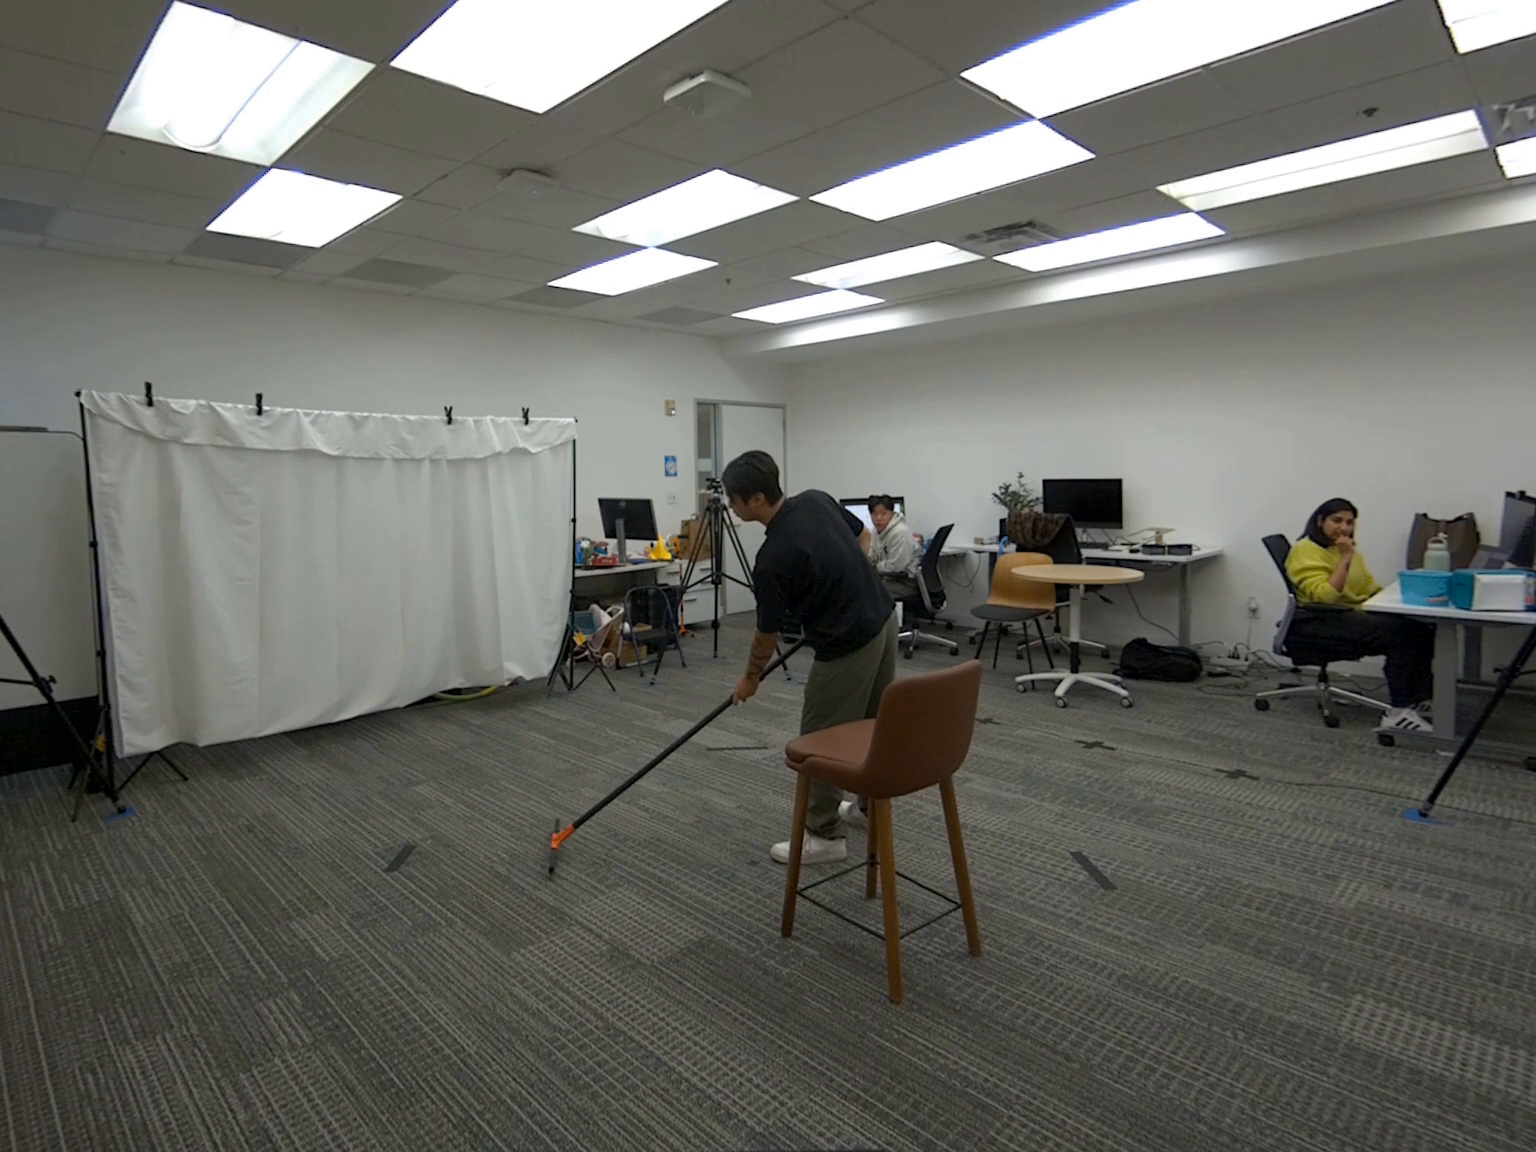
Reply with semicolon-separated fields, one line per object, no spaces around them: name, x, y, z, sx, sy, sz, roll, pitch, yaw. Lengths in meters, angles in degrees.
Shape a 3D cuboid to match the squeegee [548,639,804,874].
squeegee;-0.231;0.555;3.234;1.536;0.052;0.444;-38;12;-4
